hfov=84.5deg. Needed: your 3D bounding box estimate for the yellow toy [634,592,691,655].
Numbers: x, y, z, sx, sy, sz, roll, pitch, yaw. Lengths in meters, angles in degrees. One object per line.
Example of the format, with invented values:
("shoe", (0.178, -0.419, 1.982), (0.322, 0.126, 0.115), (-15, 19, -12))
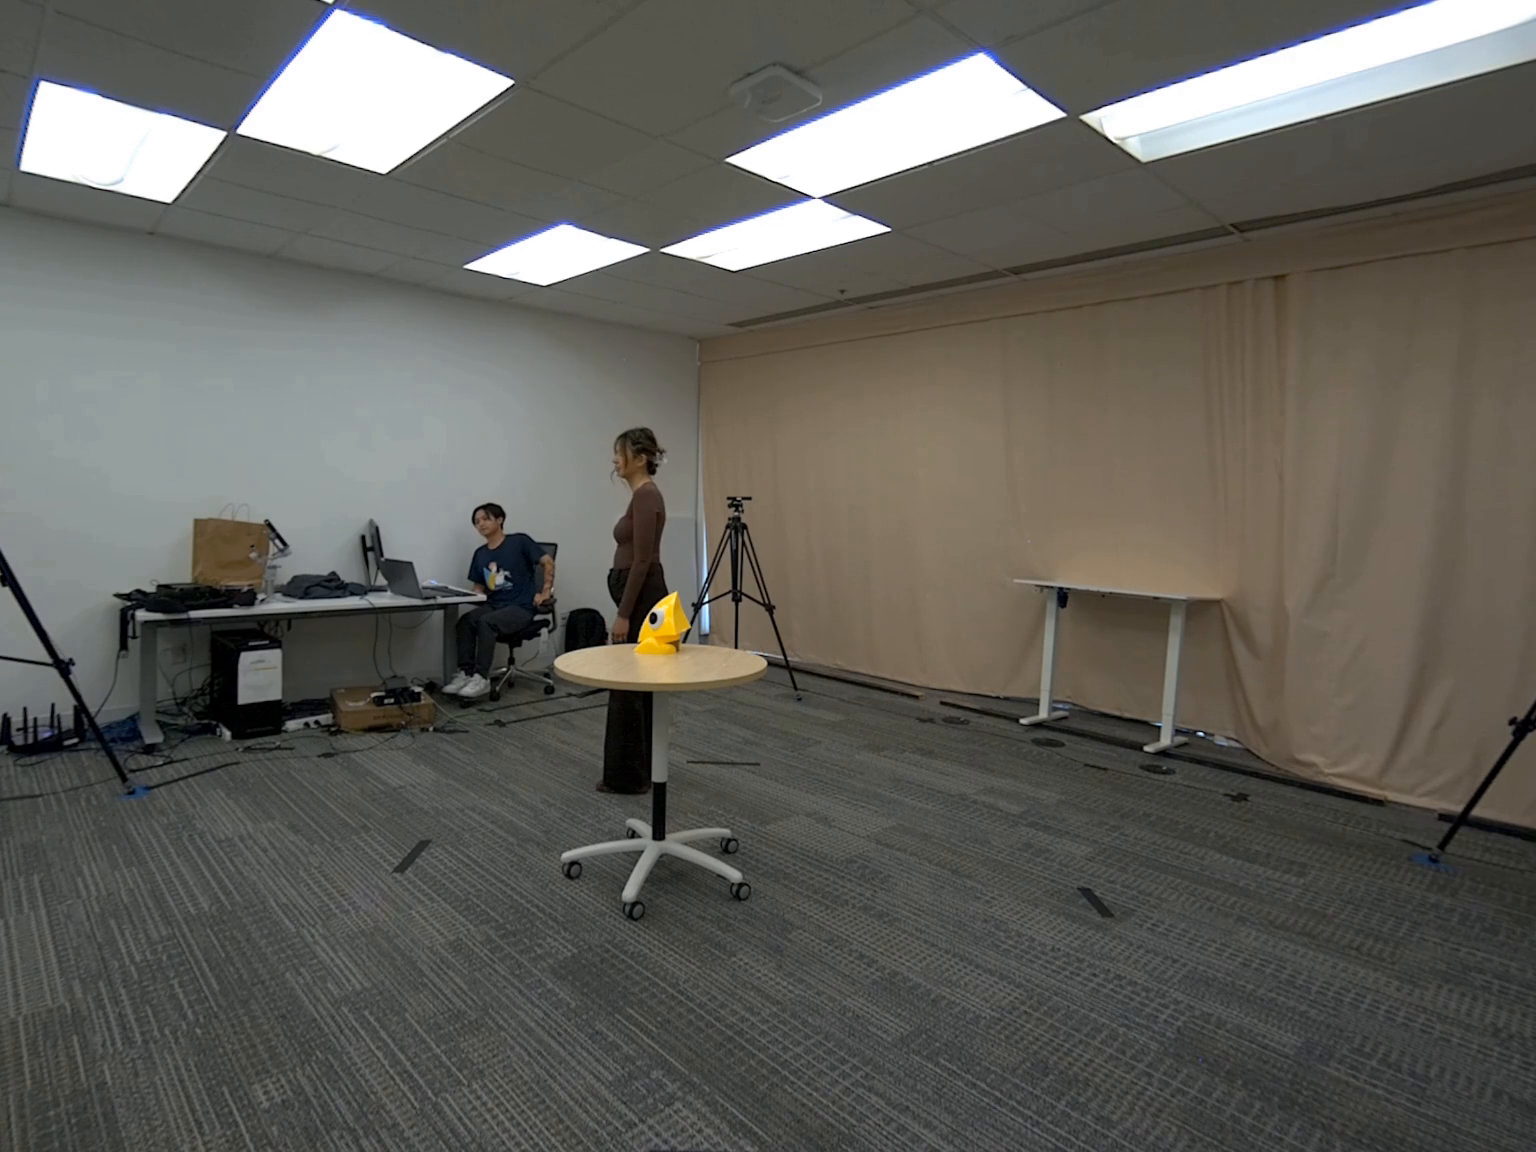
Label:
("yellow toy", (-0.417, 0.172, 3.270), (0.195, 0.230, 0.203), (3, 4, 13))
